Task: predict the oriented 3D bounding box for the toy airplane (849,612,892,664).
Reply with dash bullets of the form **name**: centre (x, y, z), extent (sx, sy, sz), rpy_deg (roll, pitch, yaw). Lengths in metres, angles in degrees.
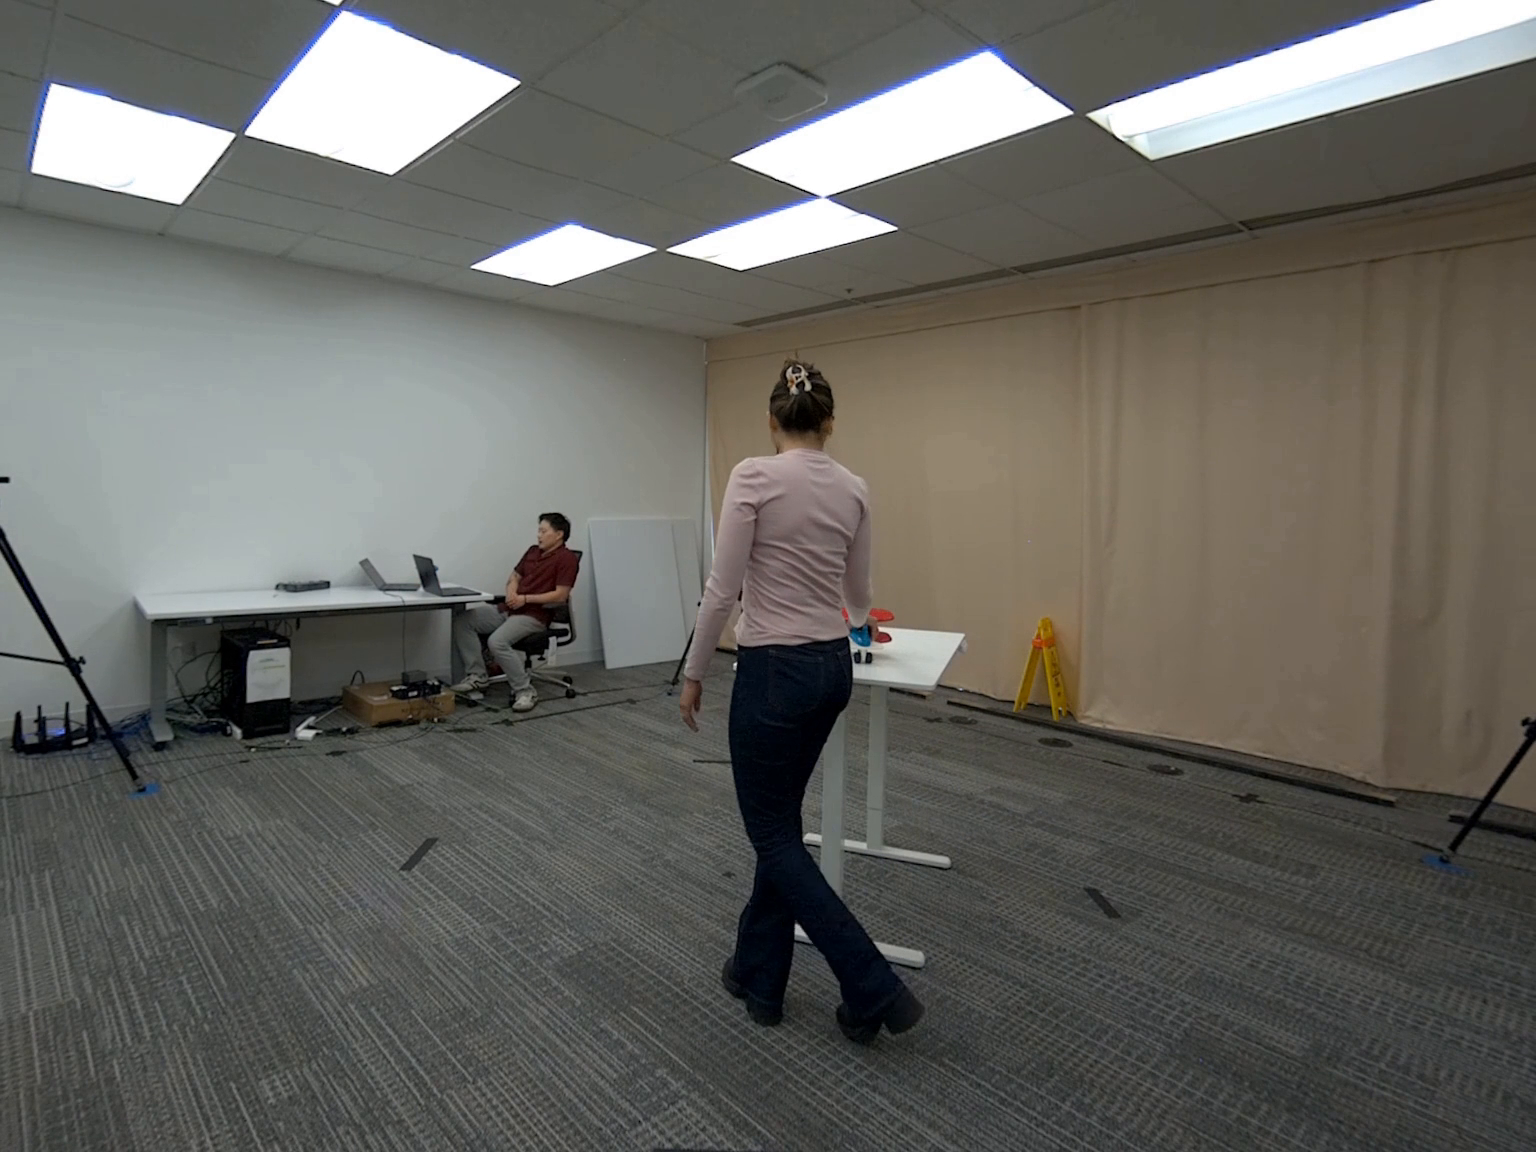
- **toy airplane**: centre (0.300, 0.194, 2.736), extent (0.246, 0.156, 0.265), rpy_deg (-3, 7, -30)
